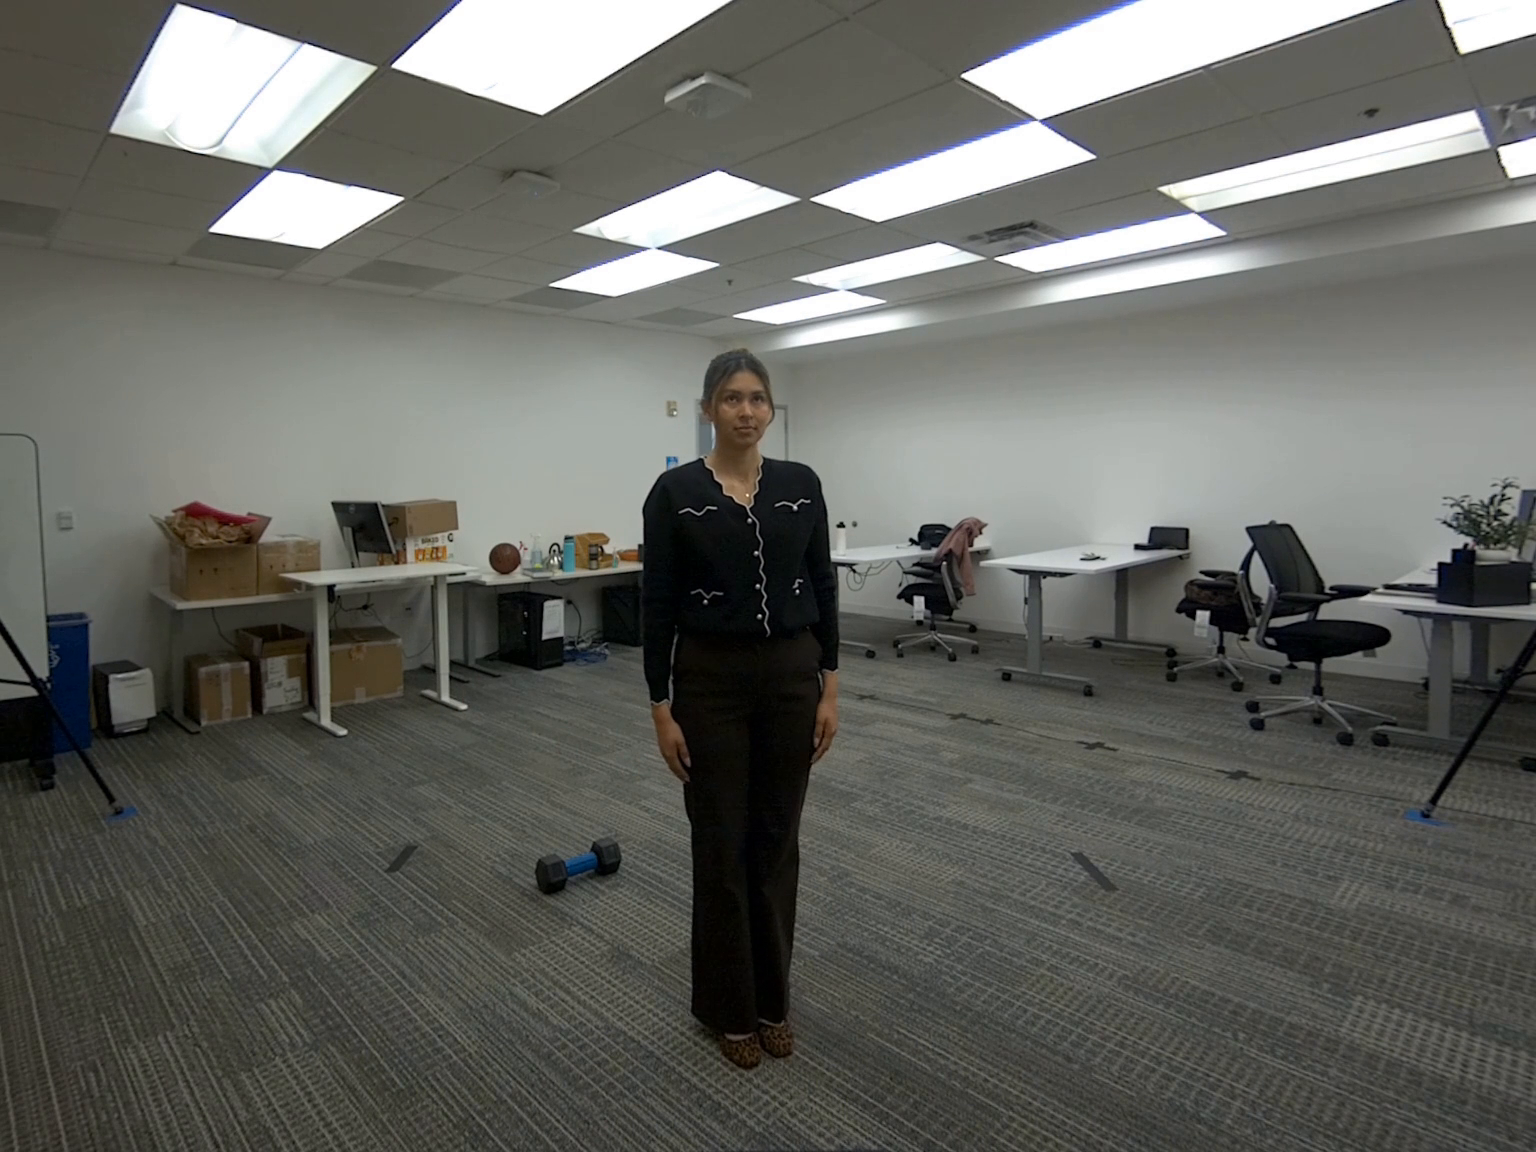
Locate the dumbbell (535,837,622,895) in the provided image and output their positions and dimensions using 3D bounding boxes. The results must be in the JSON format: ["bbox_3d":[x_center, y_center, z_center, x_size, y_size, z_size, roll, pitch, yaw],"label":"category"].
[{"bbox_3d":[-0.661,1.015,2.997,0.286,0.126,0.109,-6,-24,-38],"label":"dumbbell"}]
